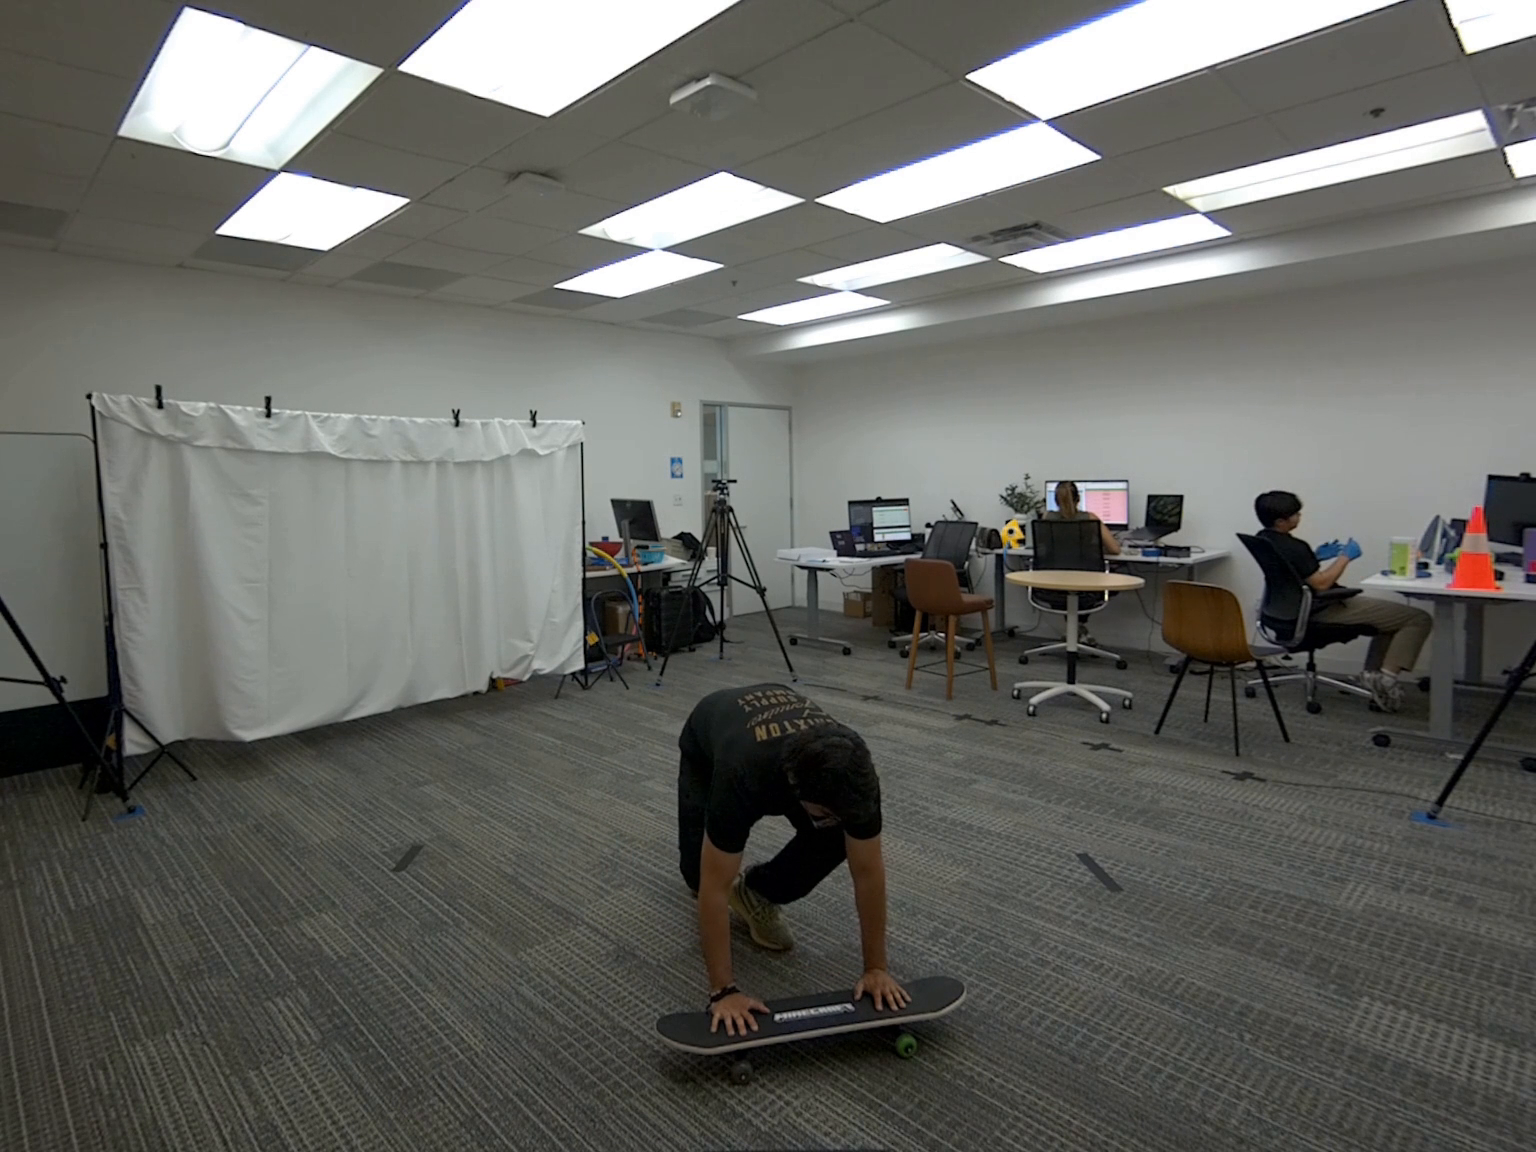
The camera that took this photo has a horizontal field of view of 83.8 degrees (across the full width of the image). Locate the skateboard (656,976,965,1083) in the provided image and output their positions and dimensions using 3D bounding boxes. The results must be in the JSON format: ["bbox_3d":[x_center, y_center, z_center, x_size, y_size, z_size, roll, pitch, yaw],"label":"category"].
[{"bbox_3d":[0.124,1.109,2.101,0.777,0.111,0.195,-3,-3,-11],"label":"skateboard"}]
